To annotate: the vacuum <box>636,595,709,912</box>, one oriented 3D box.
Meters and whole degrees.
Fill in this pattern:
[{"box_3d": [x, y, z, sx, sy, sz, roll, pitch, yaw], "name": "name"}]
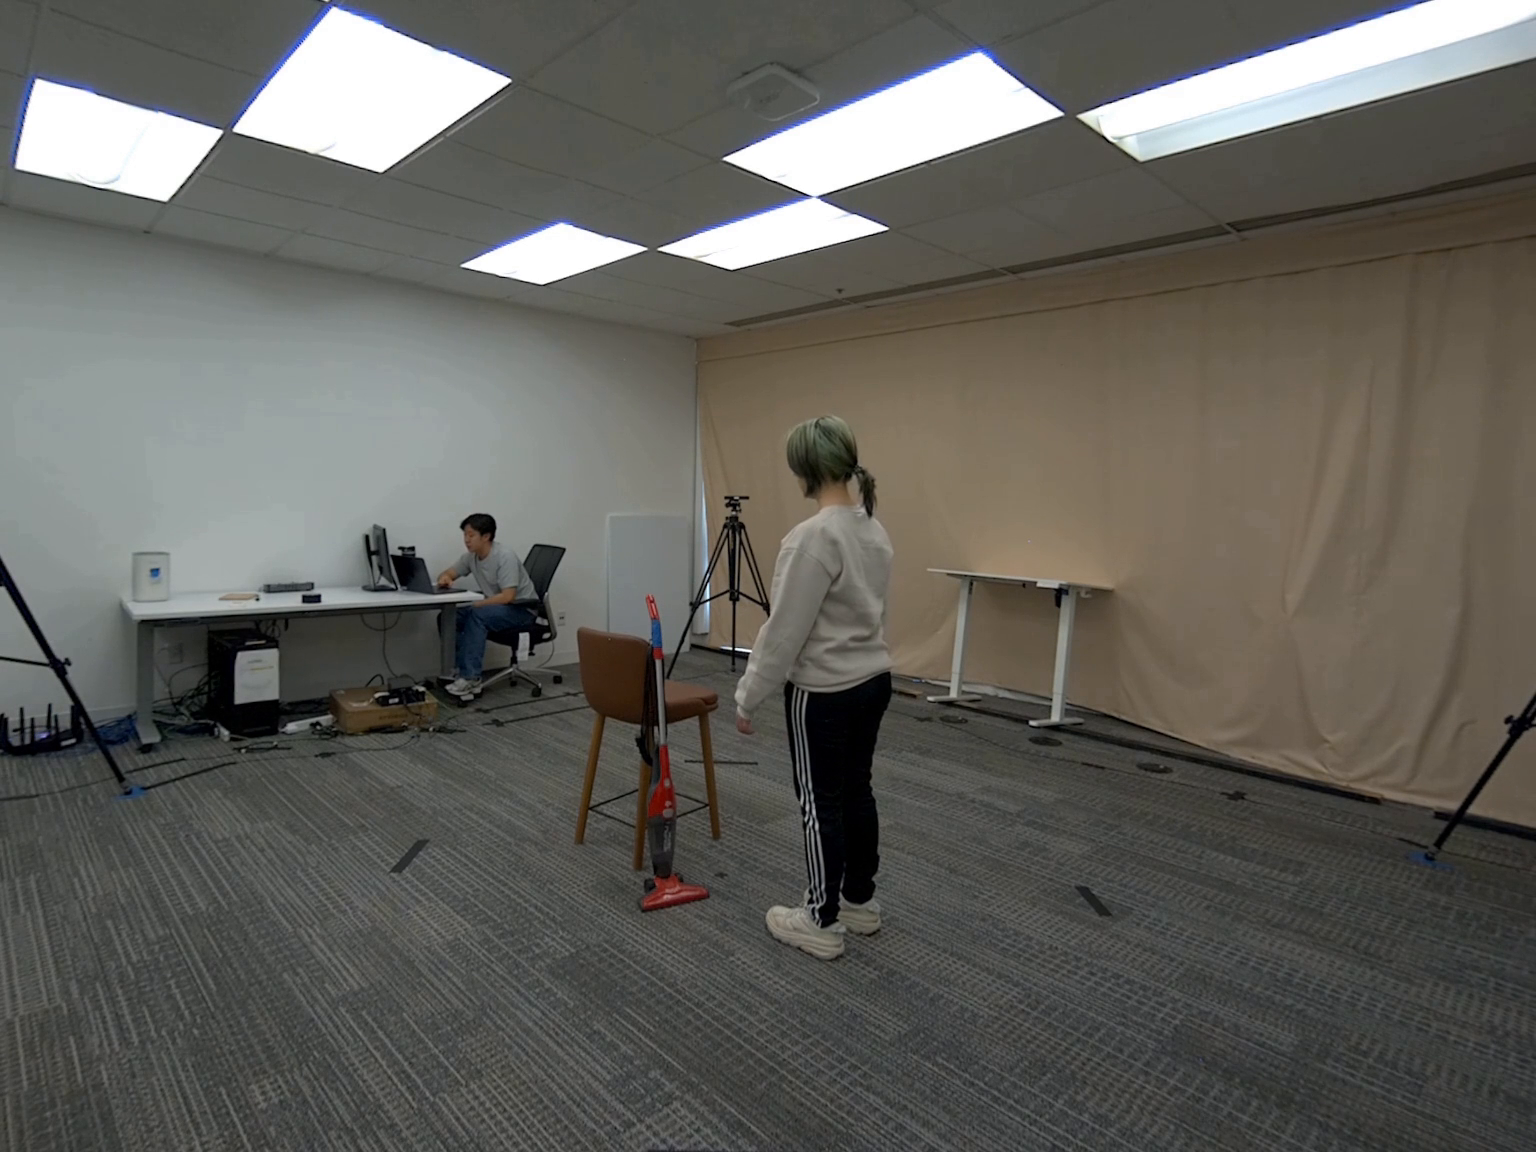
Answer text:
[{"box_3d": [-0.403, 0.602, 3.014, 0.247, 1.057, 0.146, -1, -10, -30], "name": "vacuum"}]
